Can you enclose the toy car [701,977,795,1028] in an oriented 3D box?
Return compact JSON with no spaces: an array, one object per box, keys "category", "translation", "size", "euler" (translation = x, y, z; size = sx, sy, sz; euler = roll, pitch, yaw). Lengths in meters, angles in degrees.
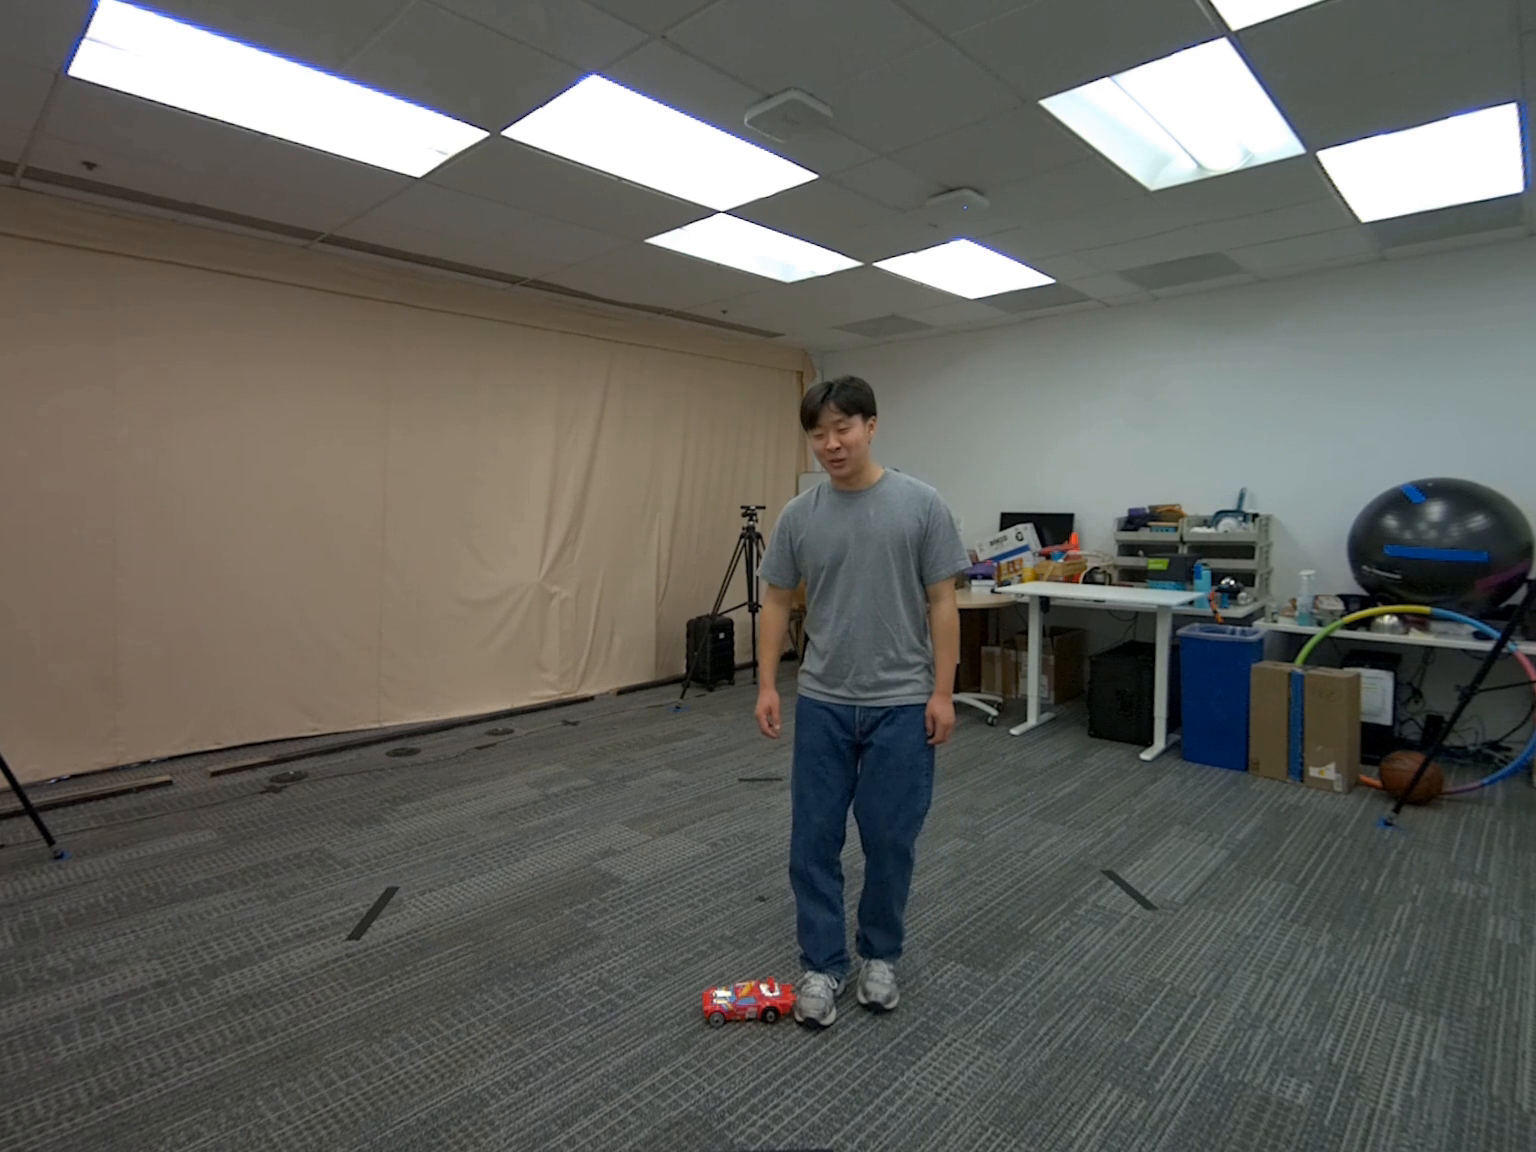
[{"category":"toy car","translation":[-0.048,1.177,2.301],"size":[0.254,0.083,0.131],"euler":[-11,5,-2]}]
